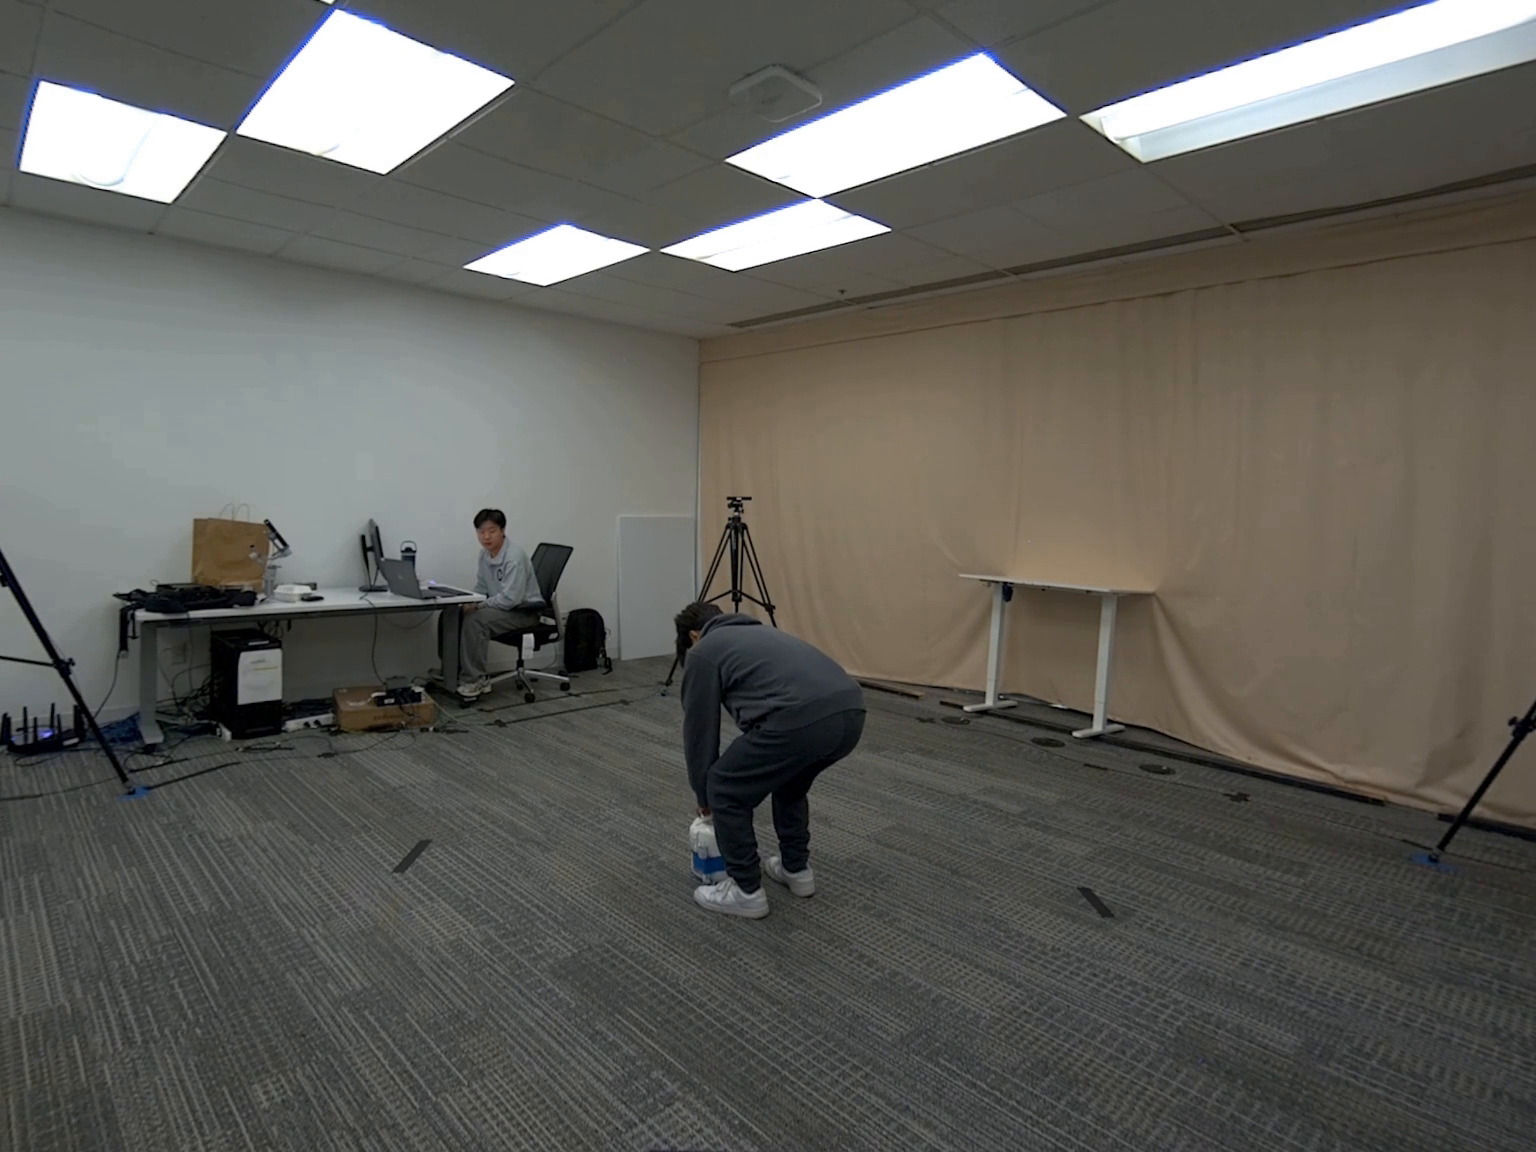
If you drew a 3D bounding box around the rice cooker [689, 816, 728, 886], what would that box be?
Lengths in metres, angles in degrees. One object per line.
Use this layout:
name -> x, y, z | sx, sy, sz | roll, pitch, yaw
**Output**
rice cooker -> -0.187, 0.986, 3.110 | 0.217, 0.232, 0.221 | 0, 5, -21
